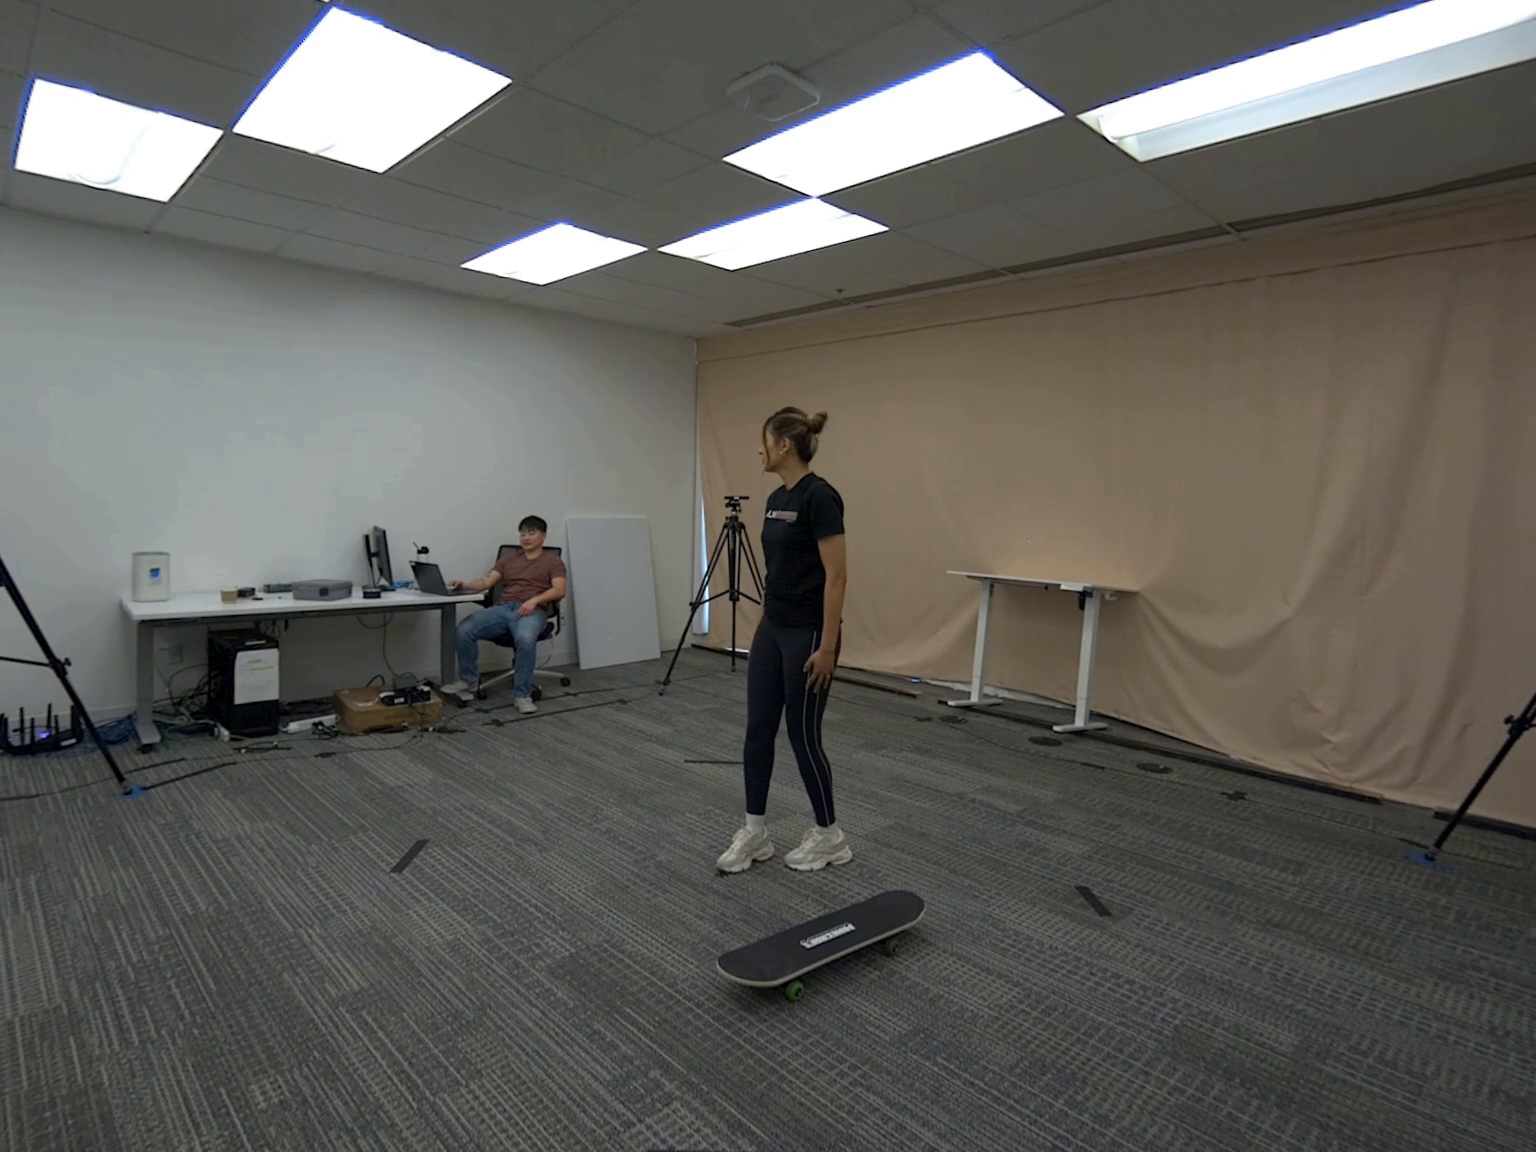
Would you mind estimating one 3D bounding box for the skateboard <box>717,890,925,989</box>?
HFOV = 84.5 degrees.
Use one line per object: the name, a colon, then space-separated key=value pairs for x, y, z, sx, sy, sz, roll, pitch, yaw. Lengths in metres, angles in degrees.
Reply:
skateboard: x=0.175 y=1.107 z=2.523 sx=0.768 sy=0.110 sz=0.198 roll=-3 pitch=6 yaw=-39
